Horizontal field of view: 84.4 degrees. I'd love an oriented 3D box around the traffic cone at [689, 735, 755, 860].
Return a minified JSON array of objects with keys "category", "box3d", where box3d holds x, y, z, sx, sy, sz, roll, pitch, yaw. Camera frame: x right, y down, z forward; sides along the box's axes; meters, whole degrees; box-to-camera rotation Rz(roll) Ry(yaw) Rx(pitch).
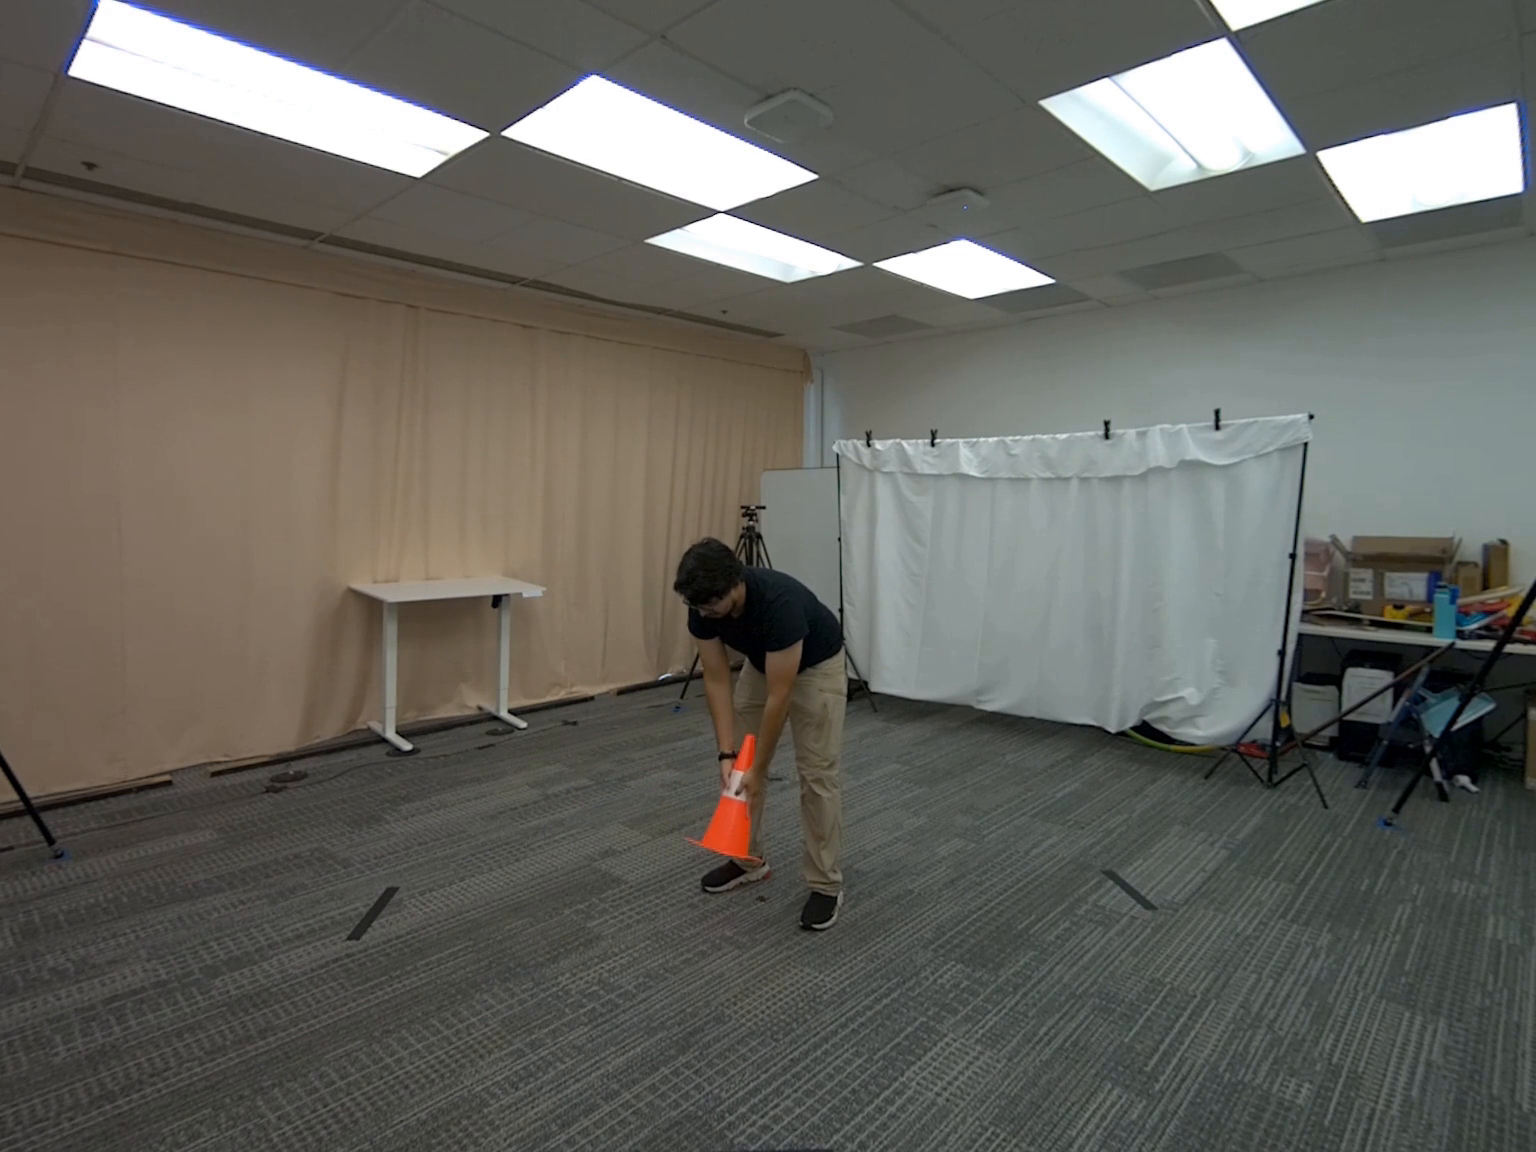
[{"category":"traffic cone","box3d":[-0.099,0.725,2.807,0.211,0.386,0.196,-3,-19,44]}]
